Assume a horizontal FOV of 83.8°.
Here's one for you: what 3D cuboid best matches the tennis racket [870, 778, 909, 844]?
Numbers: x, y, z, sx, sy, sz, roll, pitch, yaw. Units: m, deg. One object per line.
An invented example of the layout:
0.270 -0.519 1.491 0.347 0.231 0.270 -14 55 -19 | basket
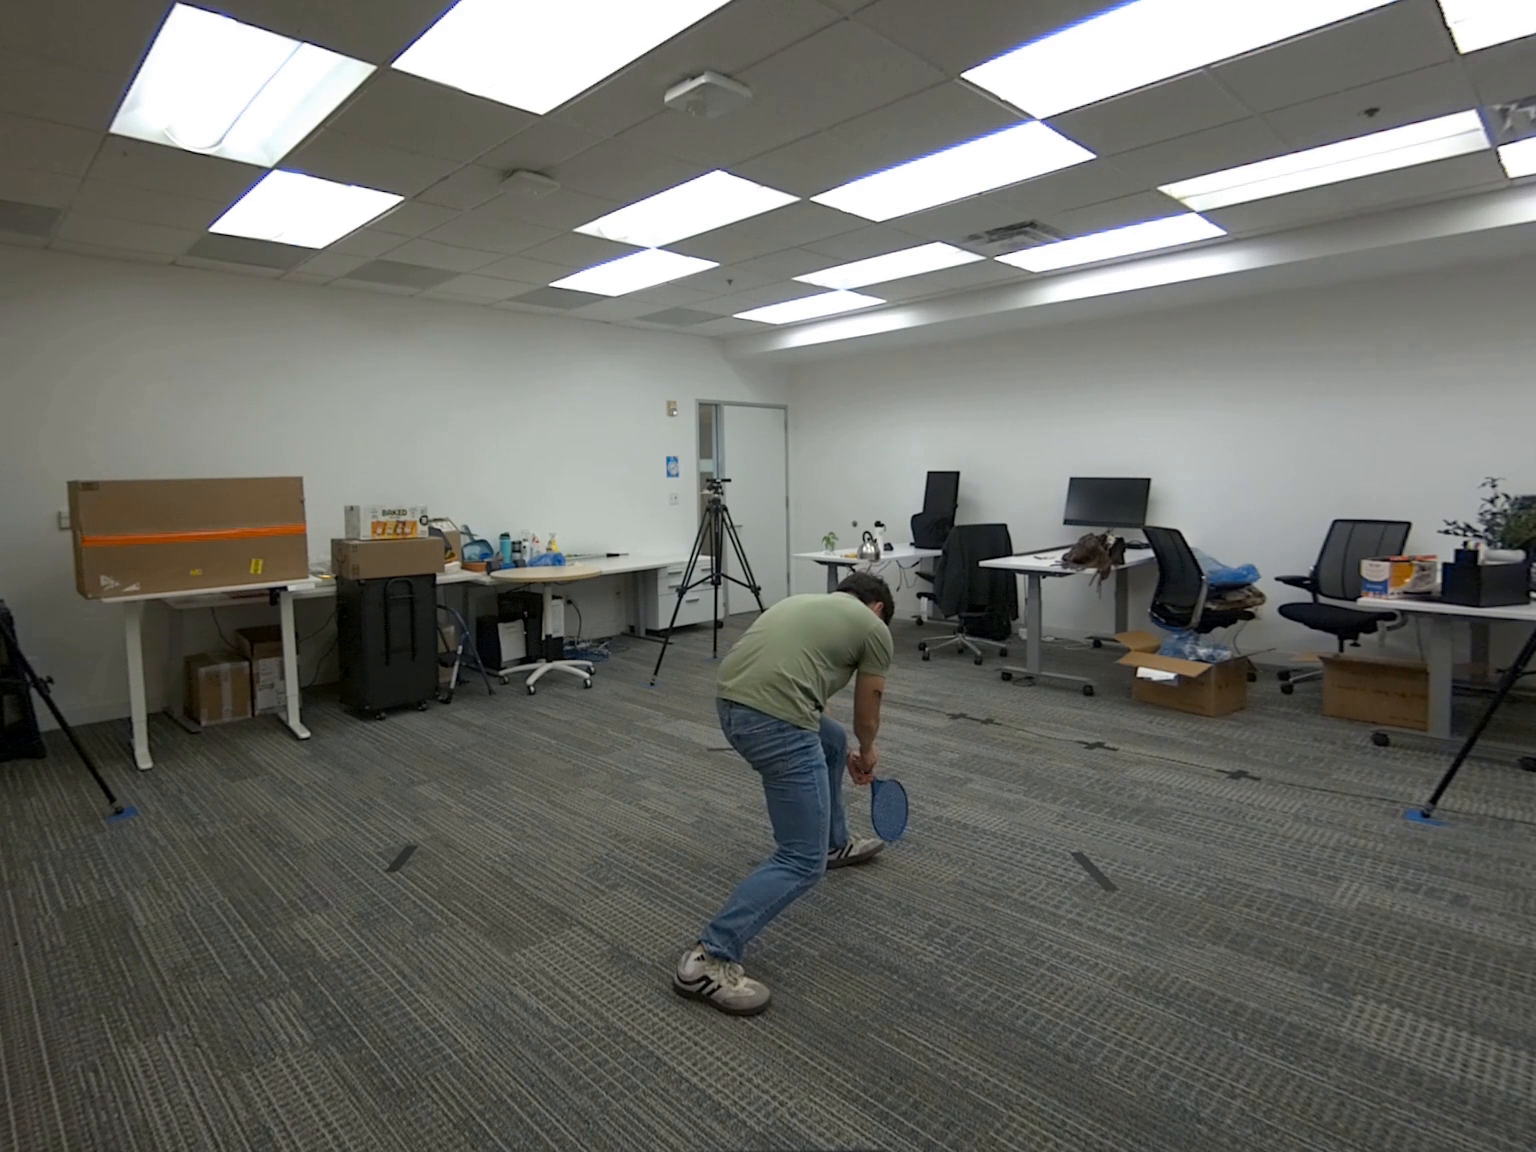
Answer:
0.435 0.831 3.221 0.033 0.420 0.213 1 37 44 | tennis racket
